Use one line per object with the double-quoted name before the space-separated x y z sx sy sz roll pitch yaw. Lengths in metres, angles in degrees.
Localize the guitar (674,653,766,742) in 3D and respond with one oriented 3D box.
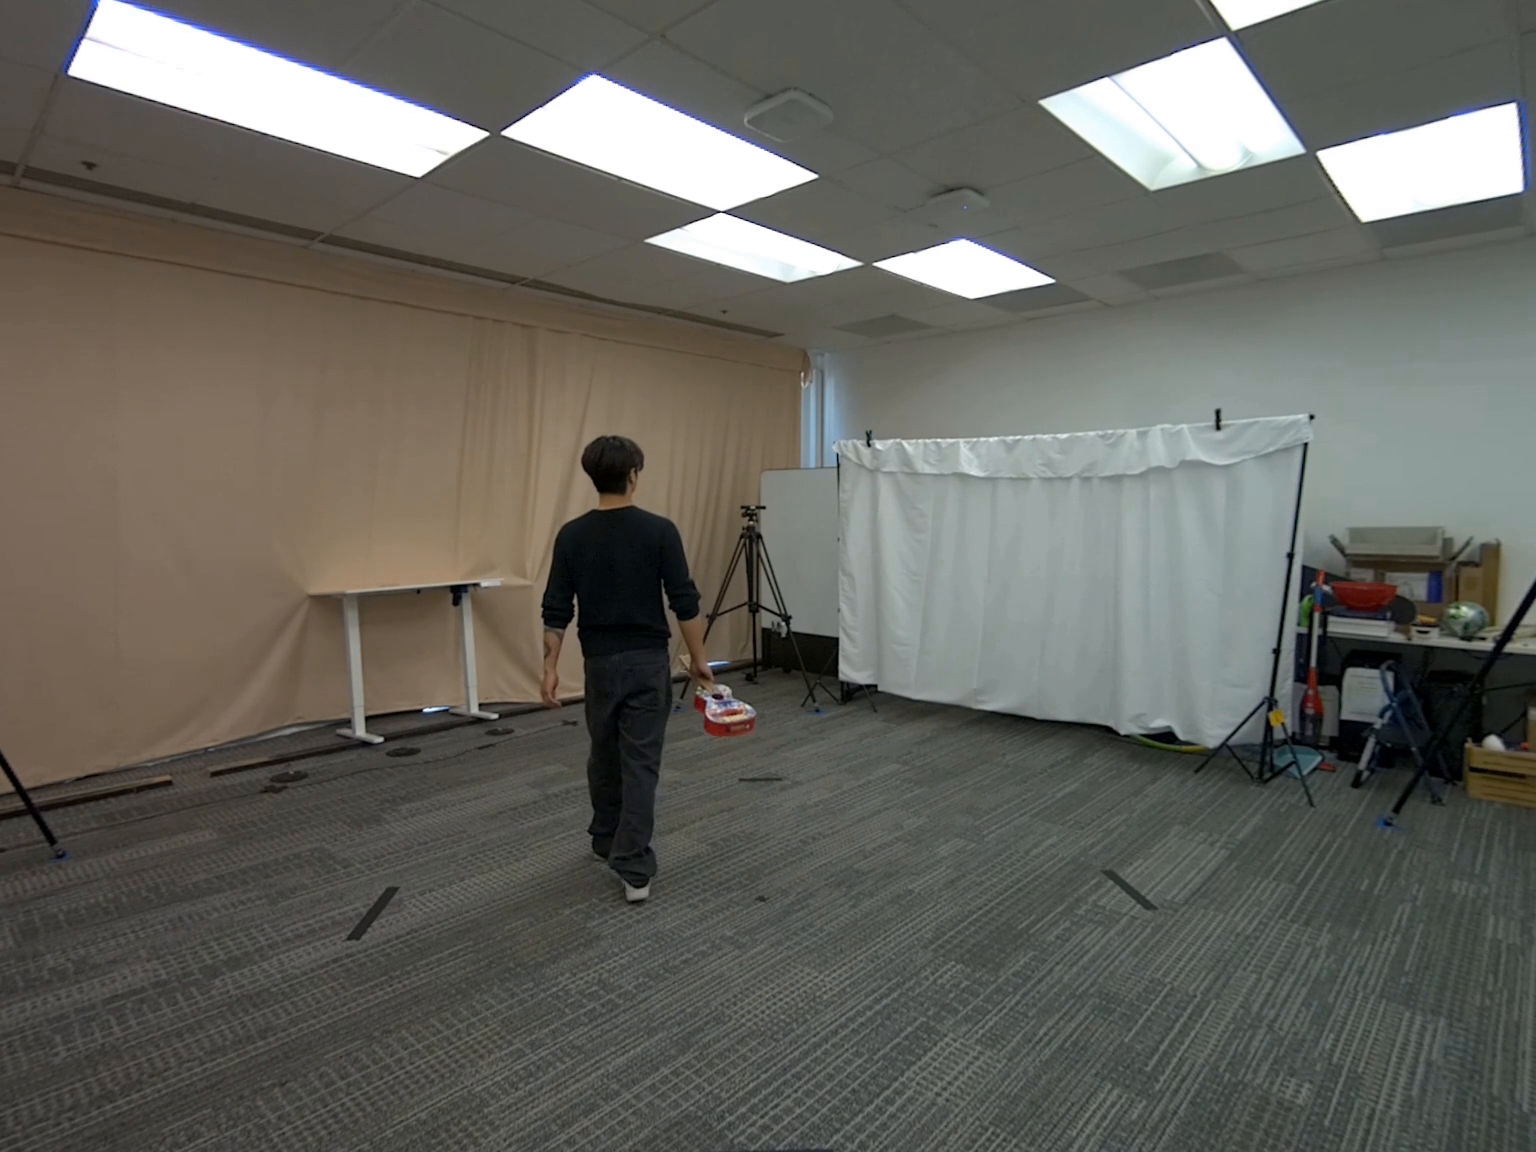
"guitar" -0.195 0.448 3.215 0.189 0.070 0.513 -1 23 -21
